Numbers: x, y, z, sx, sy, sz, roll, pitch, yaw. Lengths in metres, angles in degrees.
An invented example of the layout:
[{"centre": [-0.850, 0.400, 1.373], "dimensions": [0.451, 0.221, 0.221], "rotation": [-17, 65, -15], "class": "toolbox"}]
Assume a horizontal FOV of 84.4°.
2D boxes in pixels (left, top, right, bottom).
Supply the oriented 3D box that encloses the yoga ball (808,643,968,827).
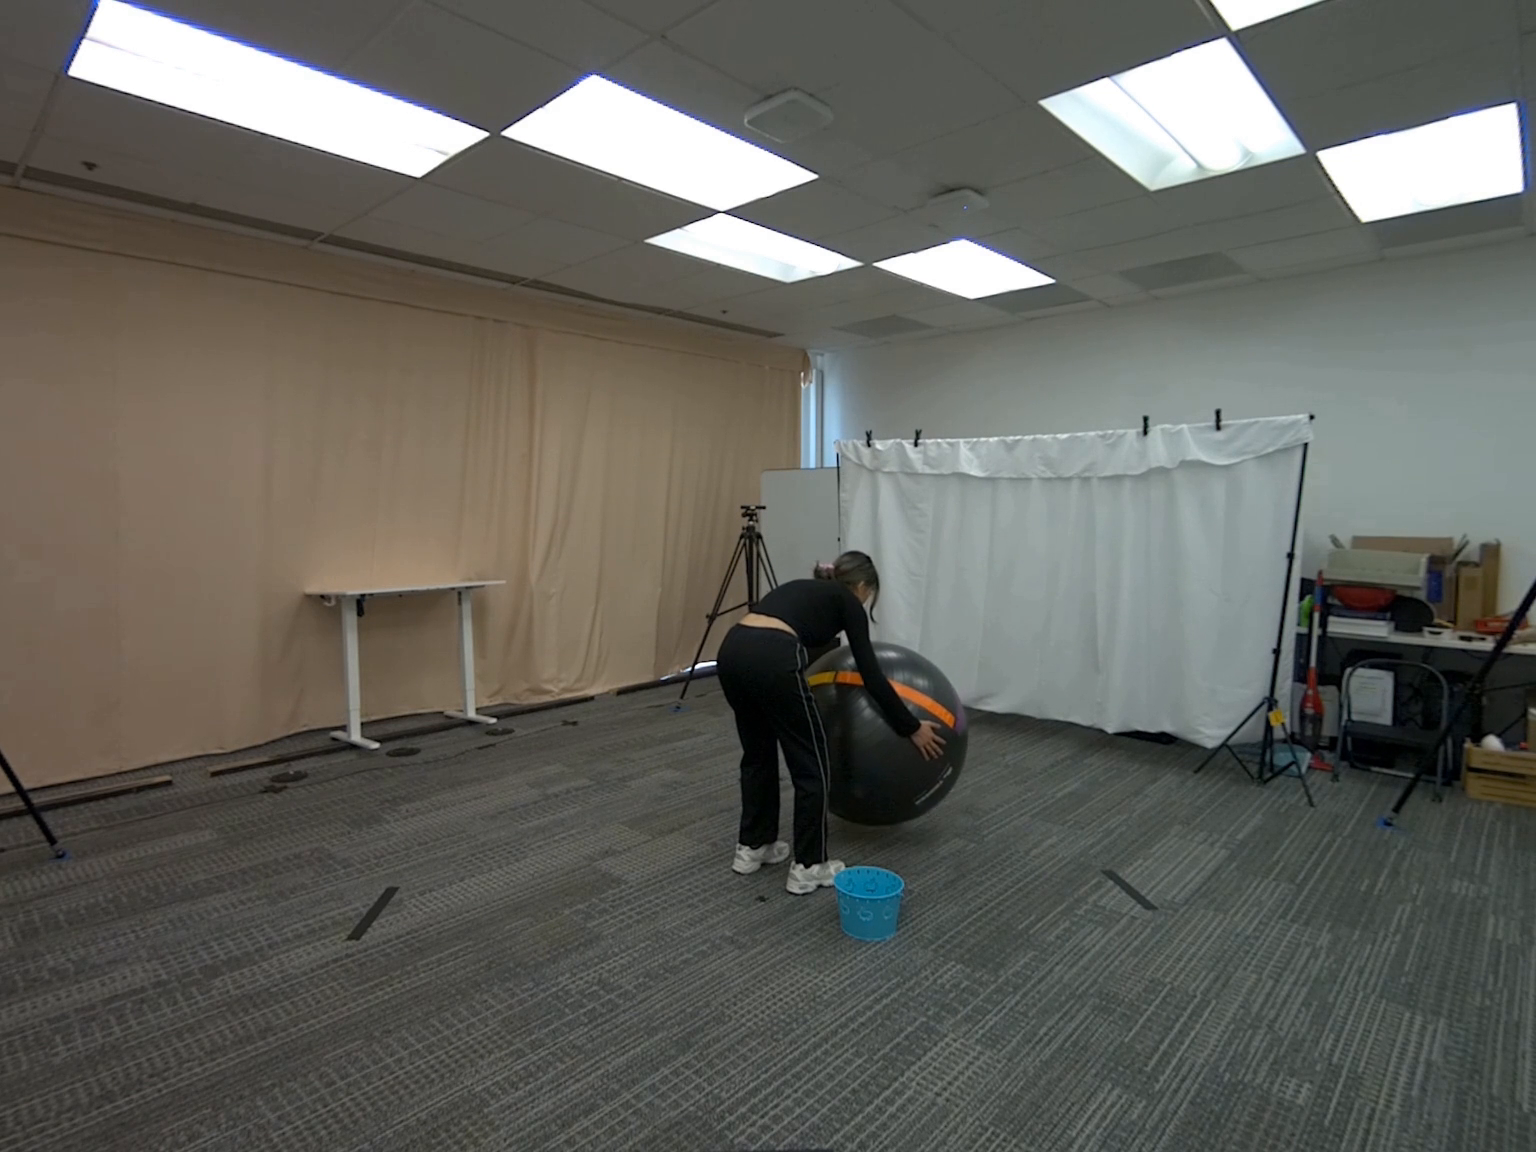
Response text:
[{"centre": [0.464, 0.649, 3.564], "dimensions": [0.757, 0.756, 0.760], "rotation": [0, 4, -2], "class": "yoga ball"}]
